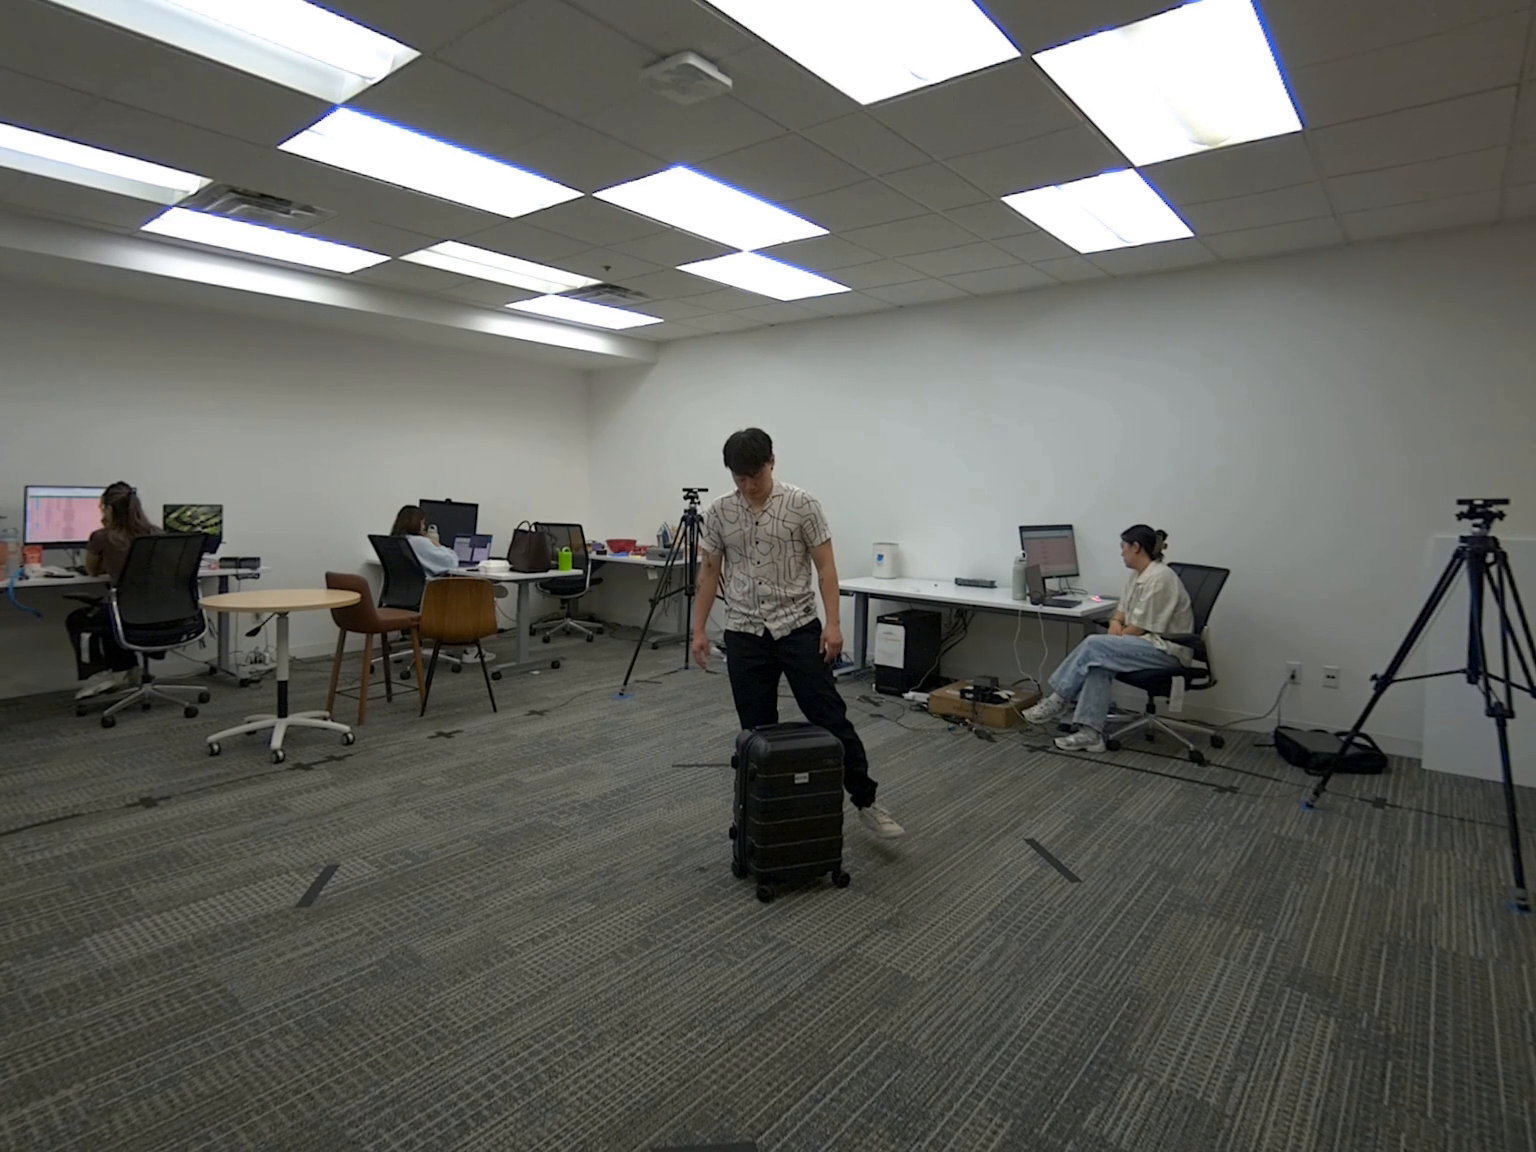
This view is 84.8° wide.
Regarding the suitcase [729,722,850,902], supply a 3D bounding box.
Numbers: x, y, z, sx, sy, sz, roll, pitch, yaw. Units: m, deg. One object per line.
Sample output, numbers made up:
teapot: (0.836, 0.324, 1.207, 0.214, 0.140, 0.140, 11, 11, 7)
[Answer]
suitcase: (0.065, 0.804, 3.029, 0.366, 0.547, 0.255, 0, 4, -25)
